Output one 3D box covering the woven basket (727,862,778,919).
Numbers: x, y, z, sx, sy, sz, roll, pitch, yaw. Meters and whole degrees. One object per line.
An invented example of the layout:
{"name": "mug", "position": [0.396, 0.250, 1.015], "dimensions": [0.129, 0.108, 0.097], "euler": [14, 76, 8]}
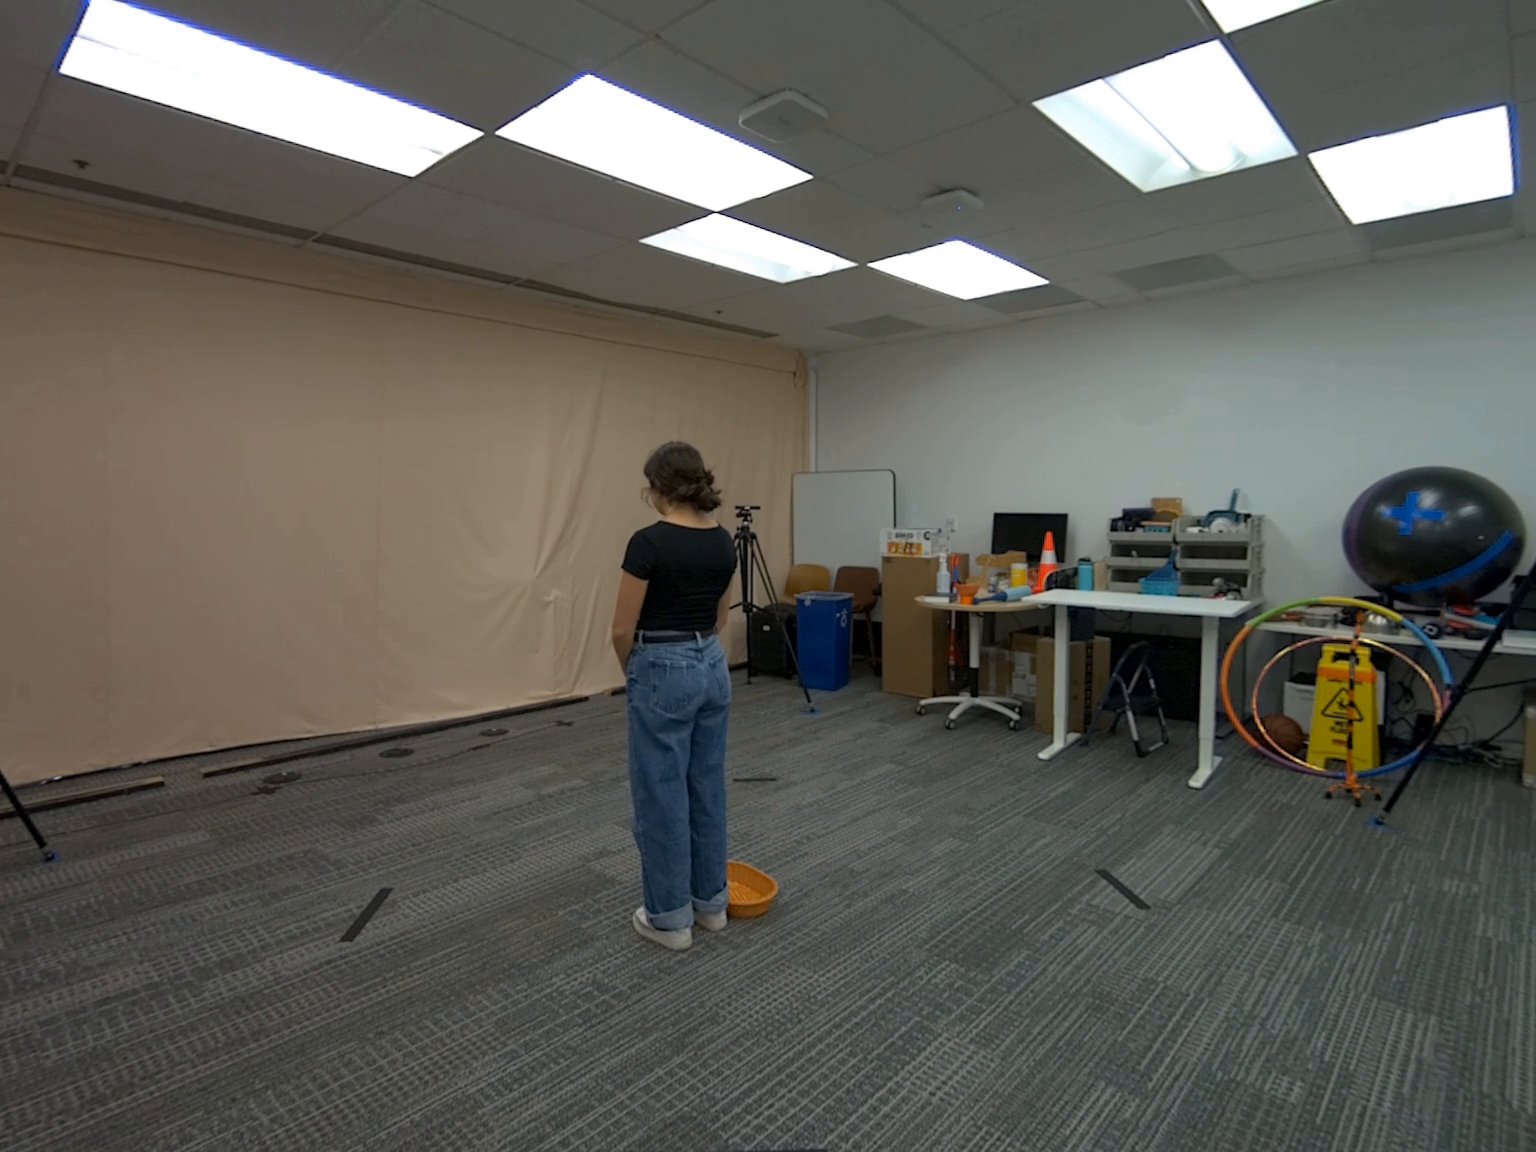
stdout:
{"name": "woven basket", "position": [-0.120, 1.106, 2.970], "dimensions": [0.245, 0.073, 0.362], "euler": [-5, 8, -35]}
